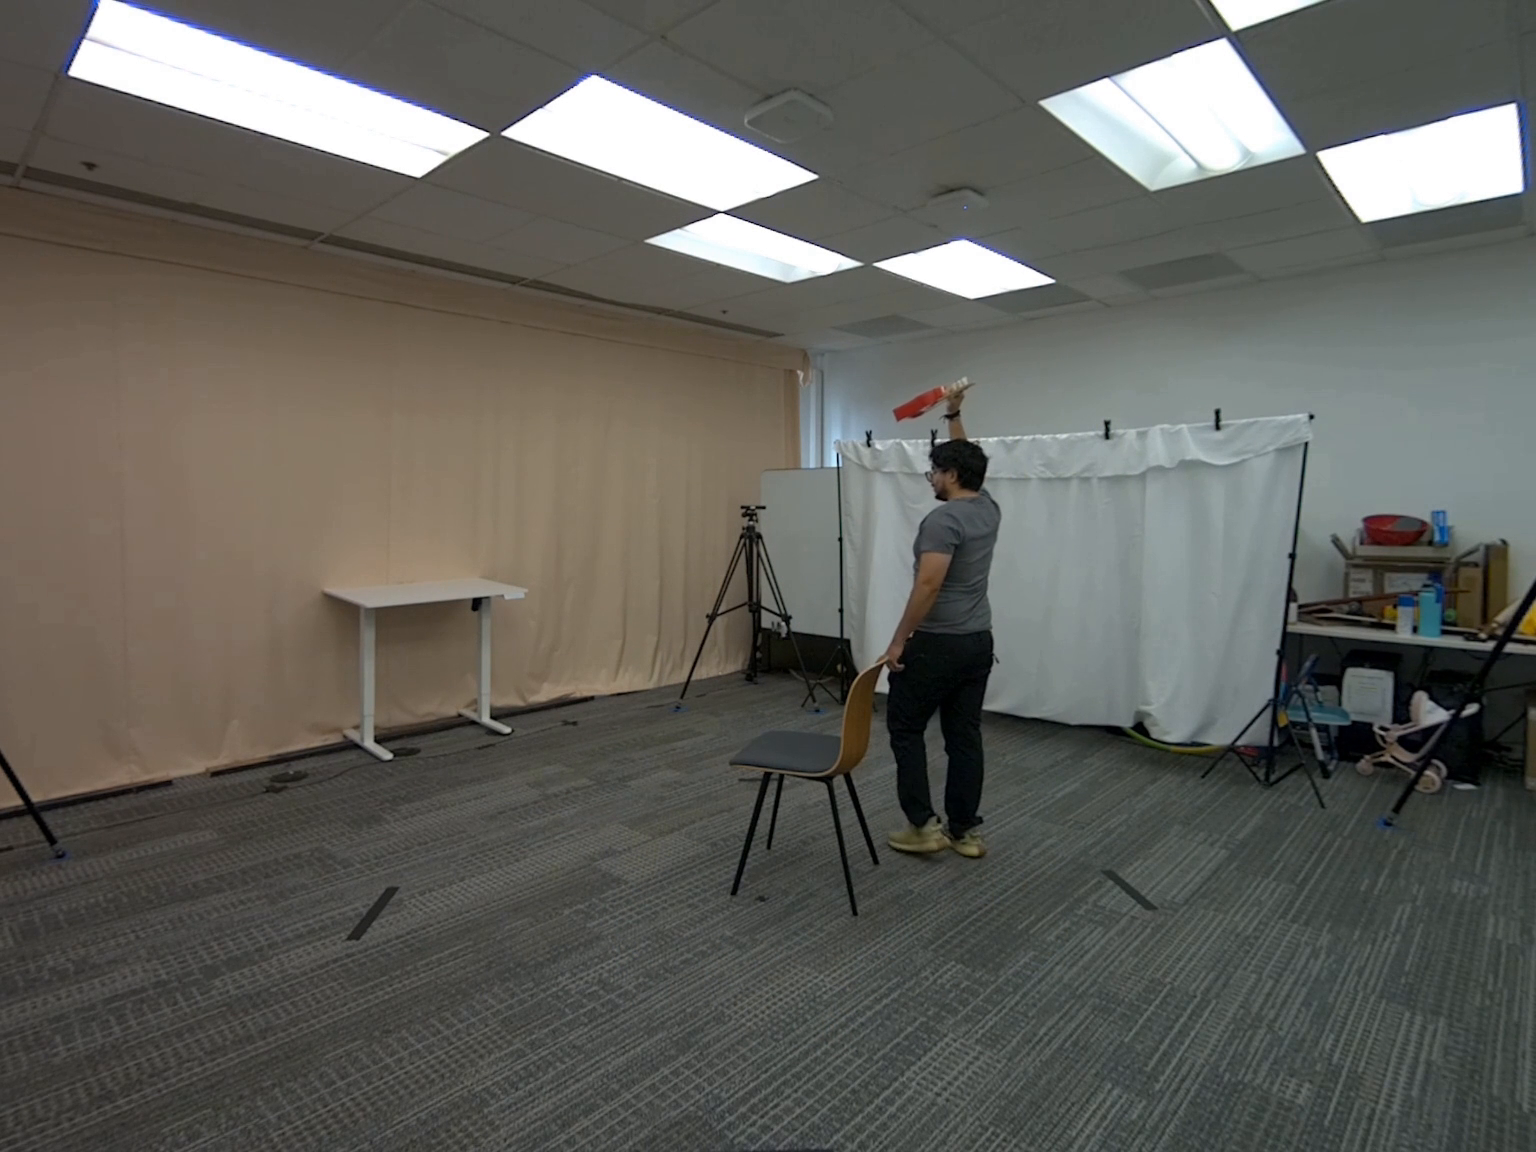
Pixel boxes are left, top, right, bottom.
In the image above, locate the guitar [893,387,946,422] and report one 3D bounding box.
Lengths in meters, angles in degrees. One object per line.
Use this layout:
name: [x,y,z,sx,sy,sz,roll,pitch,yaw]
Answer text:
guitar: [0.756,-0.789,3.654,0.189,0.071,0.507,-24,2,-29]
